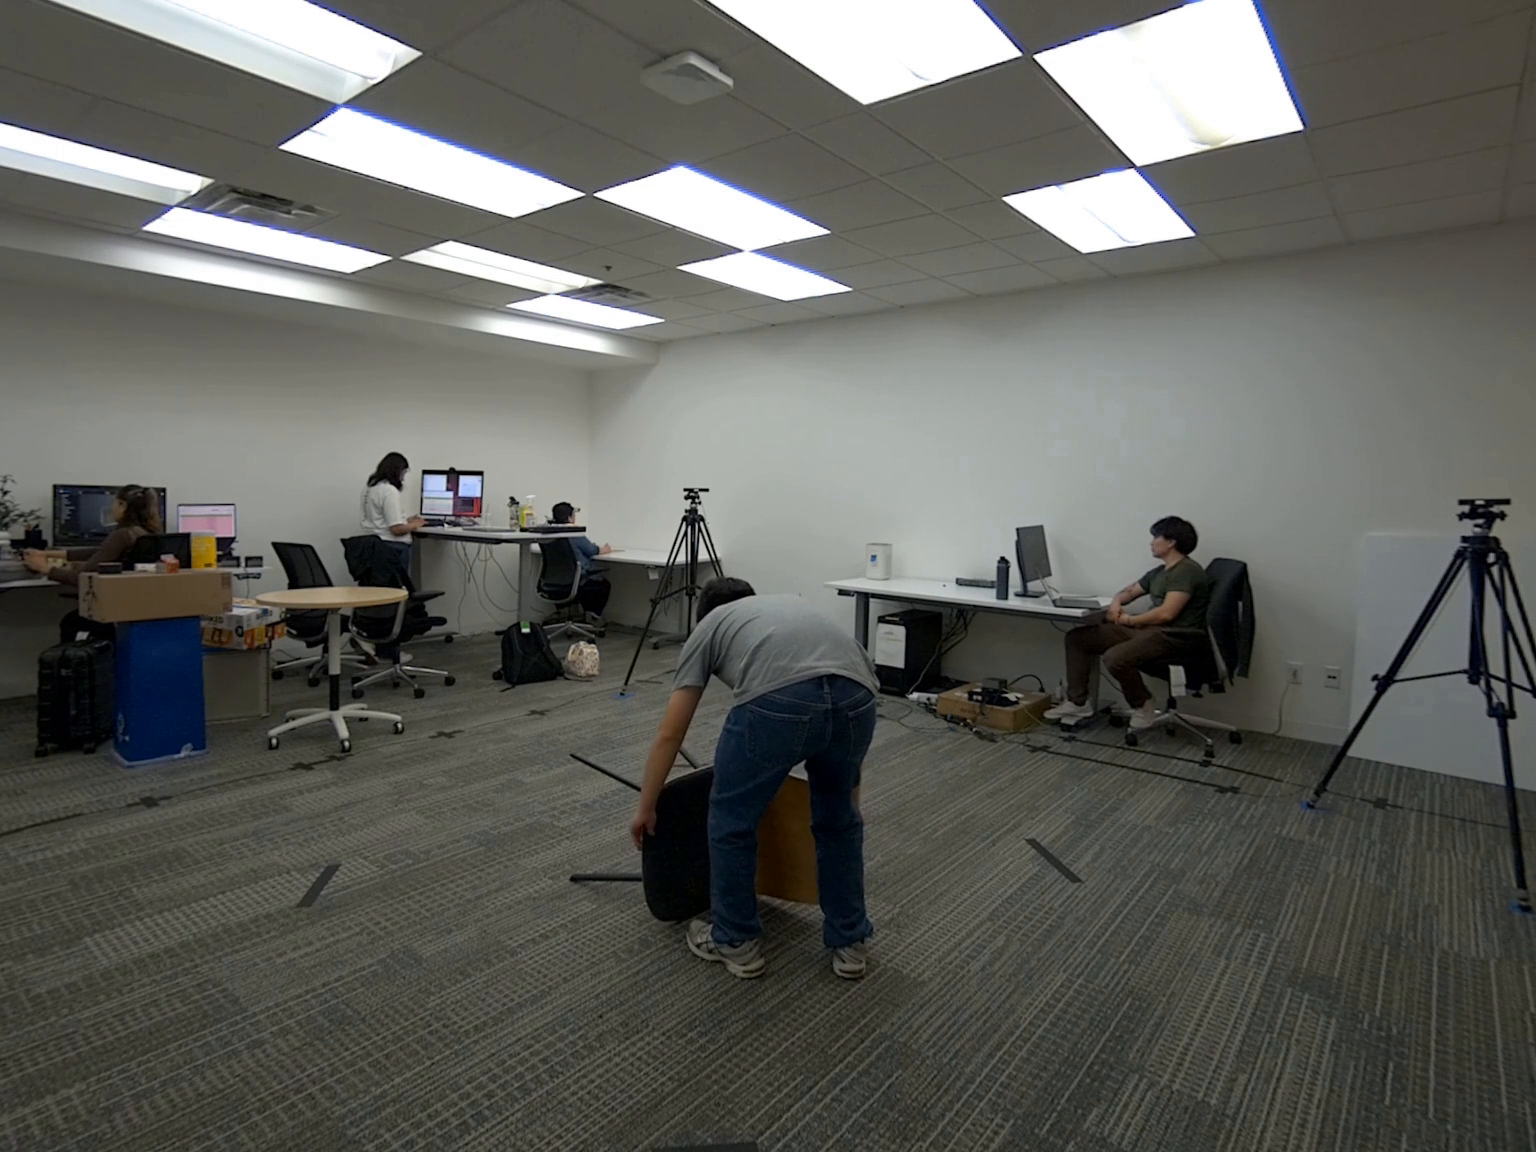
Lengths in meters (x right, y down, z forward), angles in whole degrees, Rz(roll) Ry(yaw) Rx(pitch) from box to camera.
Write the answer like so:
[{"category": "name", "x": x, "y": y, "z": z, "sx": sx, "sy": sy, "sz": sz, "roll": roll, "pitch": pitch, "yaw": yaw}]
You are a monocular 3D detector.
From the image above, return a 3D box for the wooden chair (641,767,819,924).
[{"category": "wooden chair", "x": -0.245, "y": 0.862, "z": 2.850, "sx": 0.906, "sy": 0.477, "sz": 0.508, "roll": 4, "pitch": 4, "yaw": 37}]
